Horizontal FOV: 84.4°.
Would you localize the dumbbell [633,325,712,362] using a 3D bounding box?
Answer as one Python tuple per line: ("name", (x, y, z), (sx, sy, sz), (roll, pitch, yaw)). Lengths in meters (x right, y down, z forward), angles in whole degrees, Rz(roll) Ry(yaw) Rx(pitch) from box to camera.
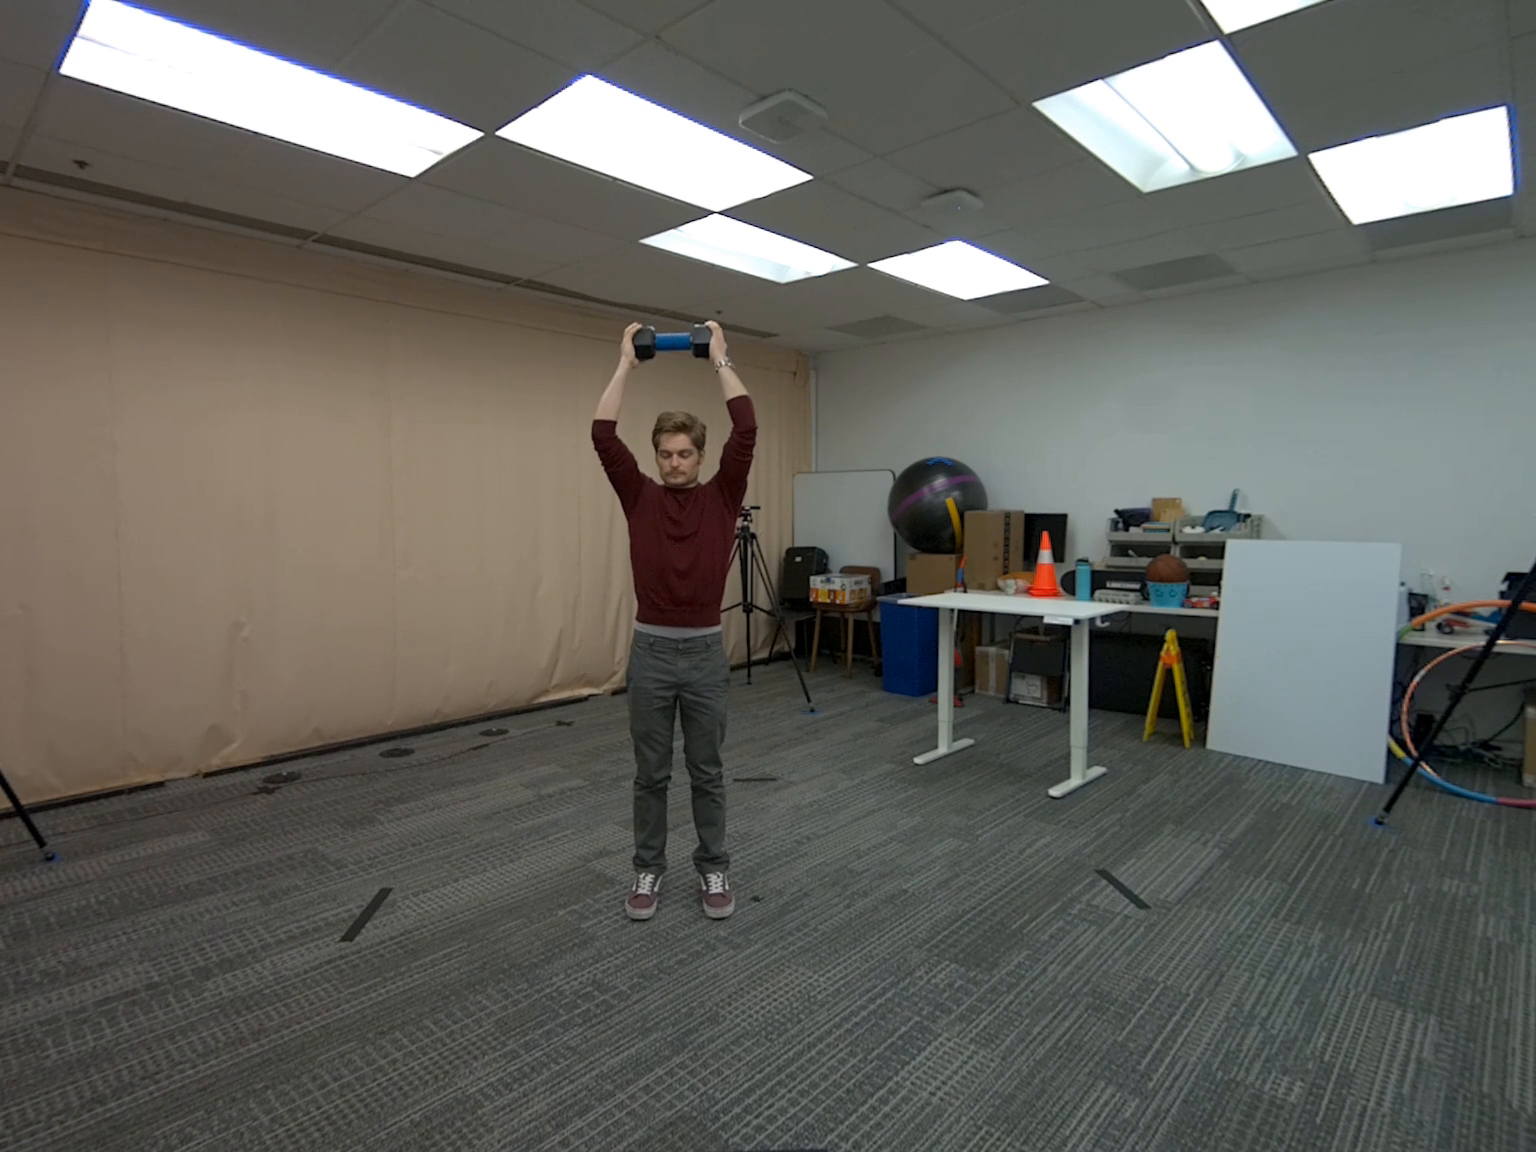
("dumbbell", (-0.335, -0.811, 2.928), (0.294, 0.107, 0.124), (-2, 21, 0))
